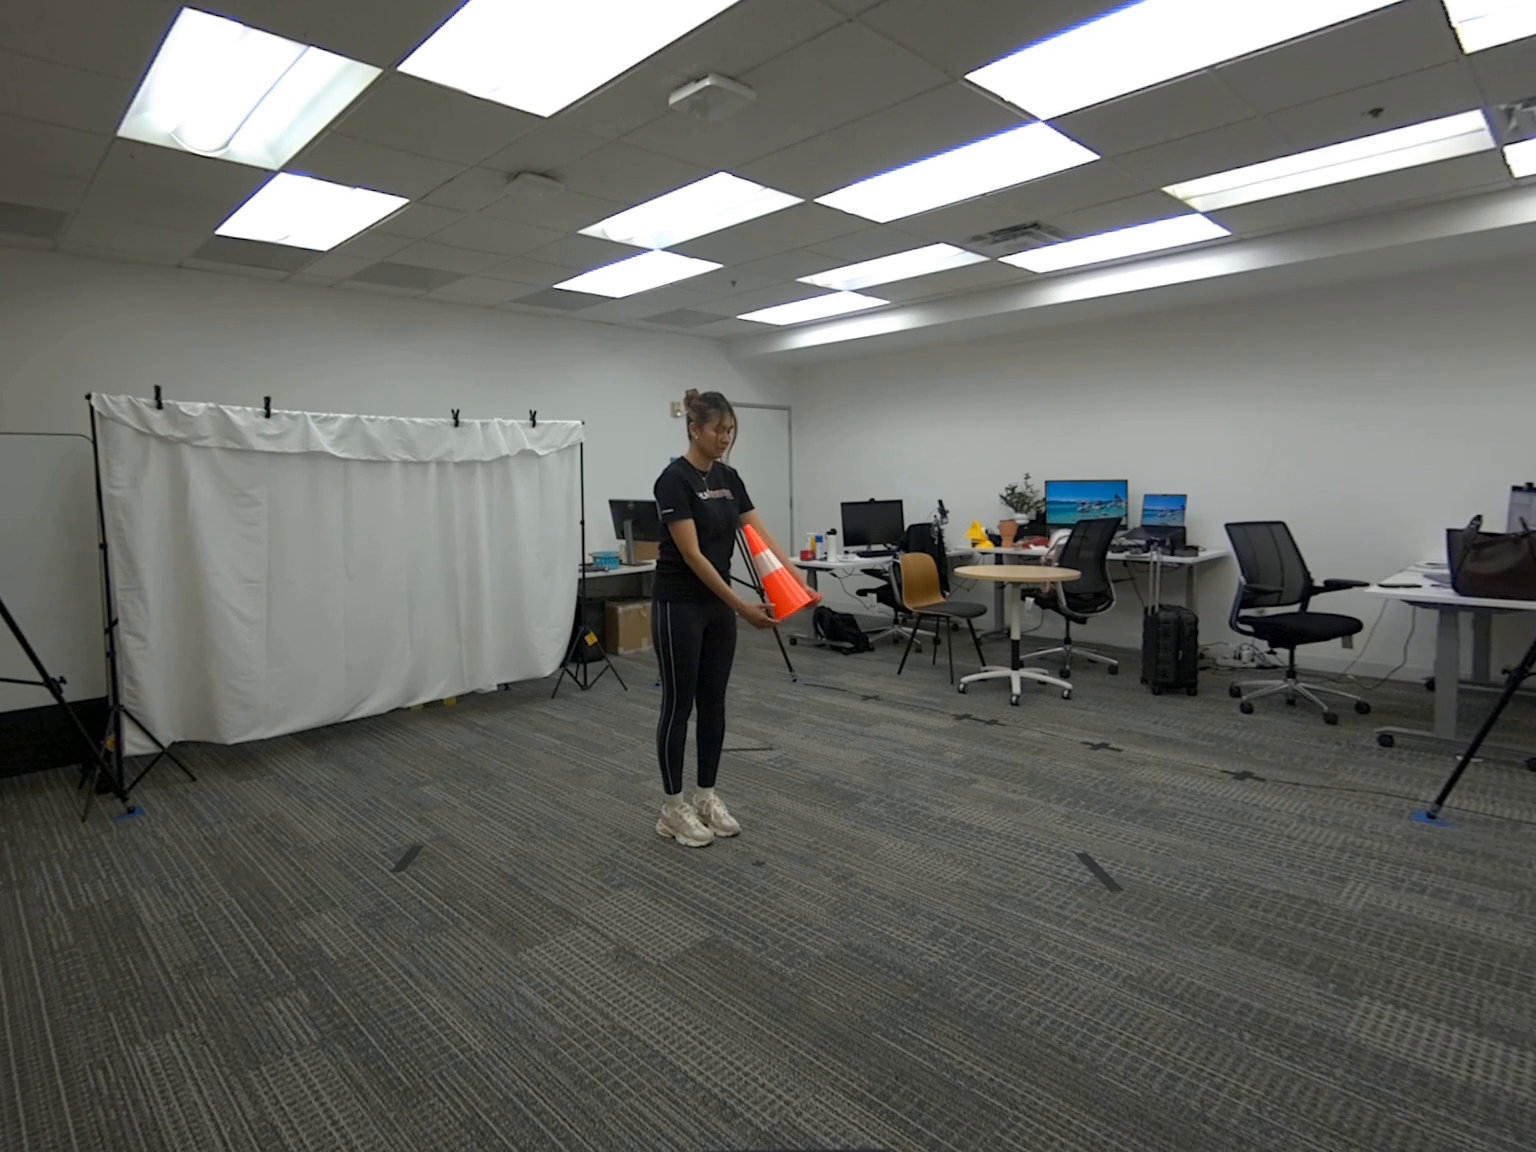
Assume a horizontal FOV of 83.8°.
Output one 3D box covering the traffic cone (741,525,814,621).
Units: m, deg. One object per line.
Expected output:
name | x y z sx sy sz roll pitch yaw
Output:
traffic cone | -0.003 -0.027 3.286 0.201 0.387 0.206 -27 -7 -29
